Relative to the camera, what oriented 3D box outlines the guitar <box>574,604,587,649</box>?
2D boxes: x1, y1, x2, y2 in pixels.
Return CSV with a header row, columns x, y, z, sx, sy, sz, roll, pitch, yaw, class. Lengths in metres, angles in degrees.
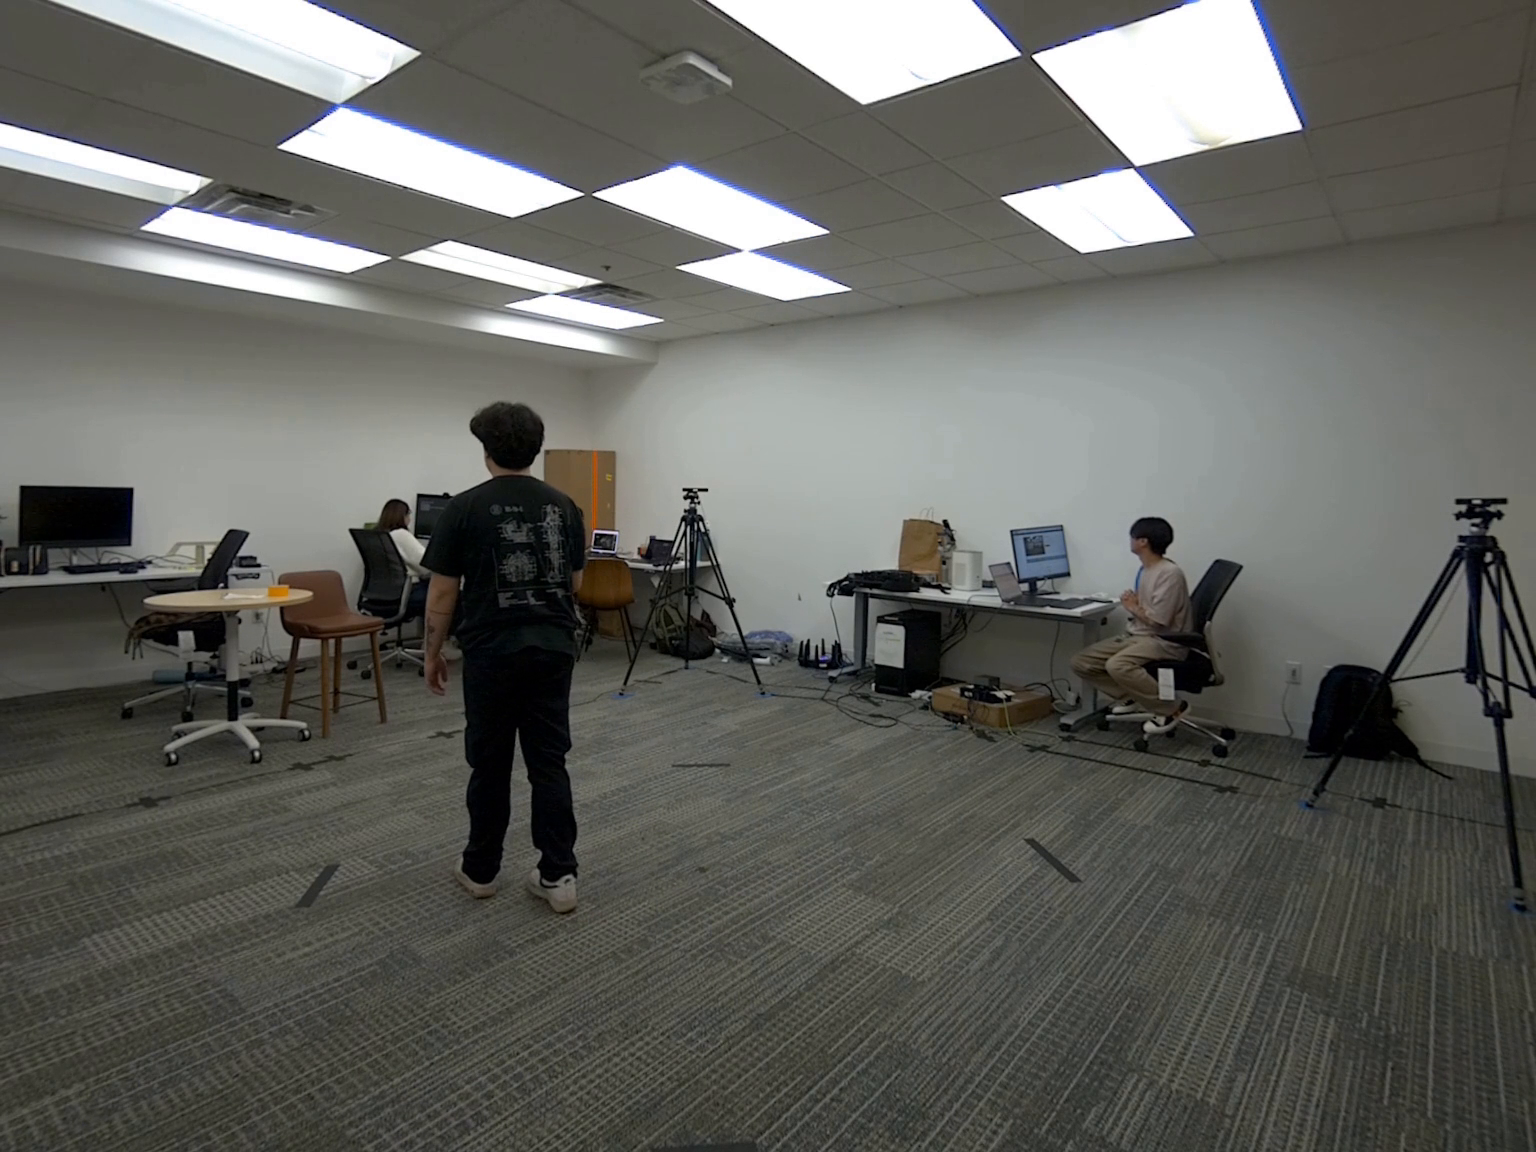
x,y,z,sx,sy,sz,roll,pitch,yaw,class
-0.816,0.065,3.348,0.189,0.500,0.071,13,-7,-15,guitar
